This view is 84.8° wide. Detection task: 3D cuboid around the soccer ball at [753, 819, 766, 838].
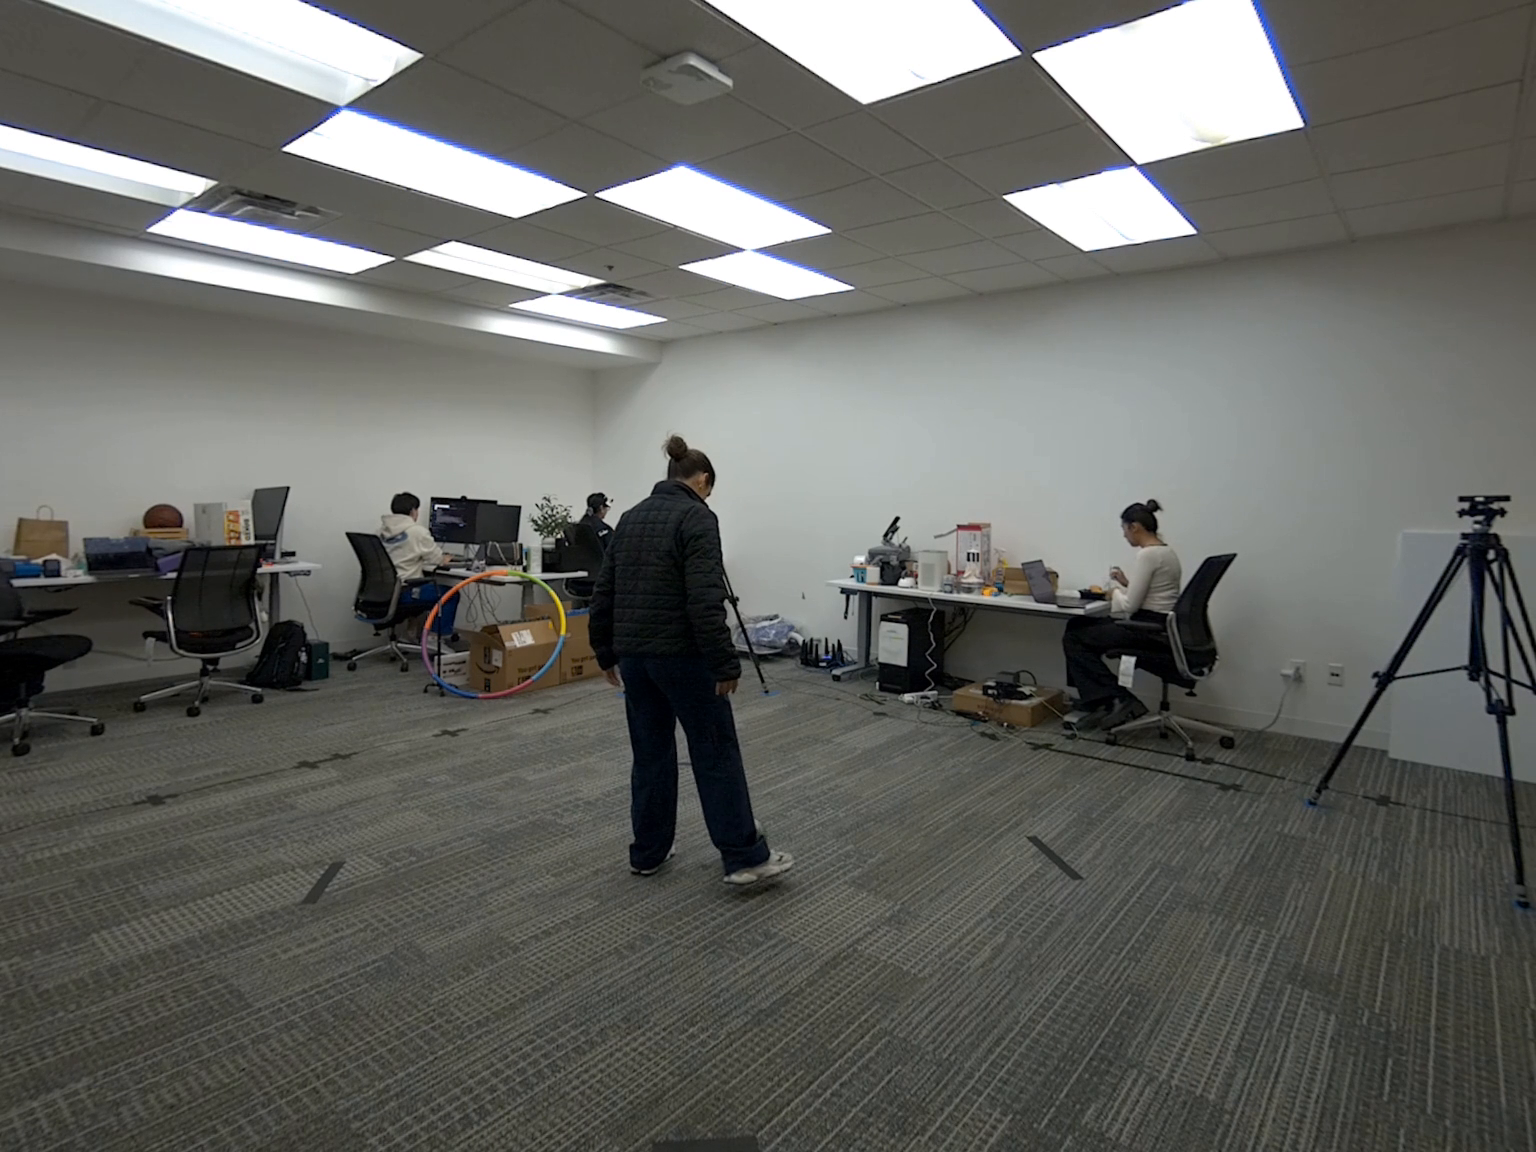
[{"bbox_3d":[-0.103,0.966,3.135,0.187,0.187,0.188,1,4,-2],"label":"soccer ball"}]
